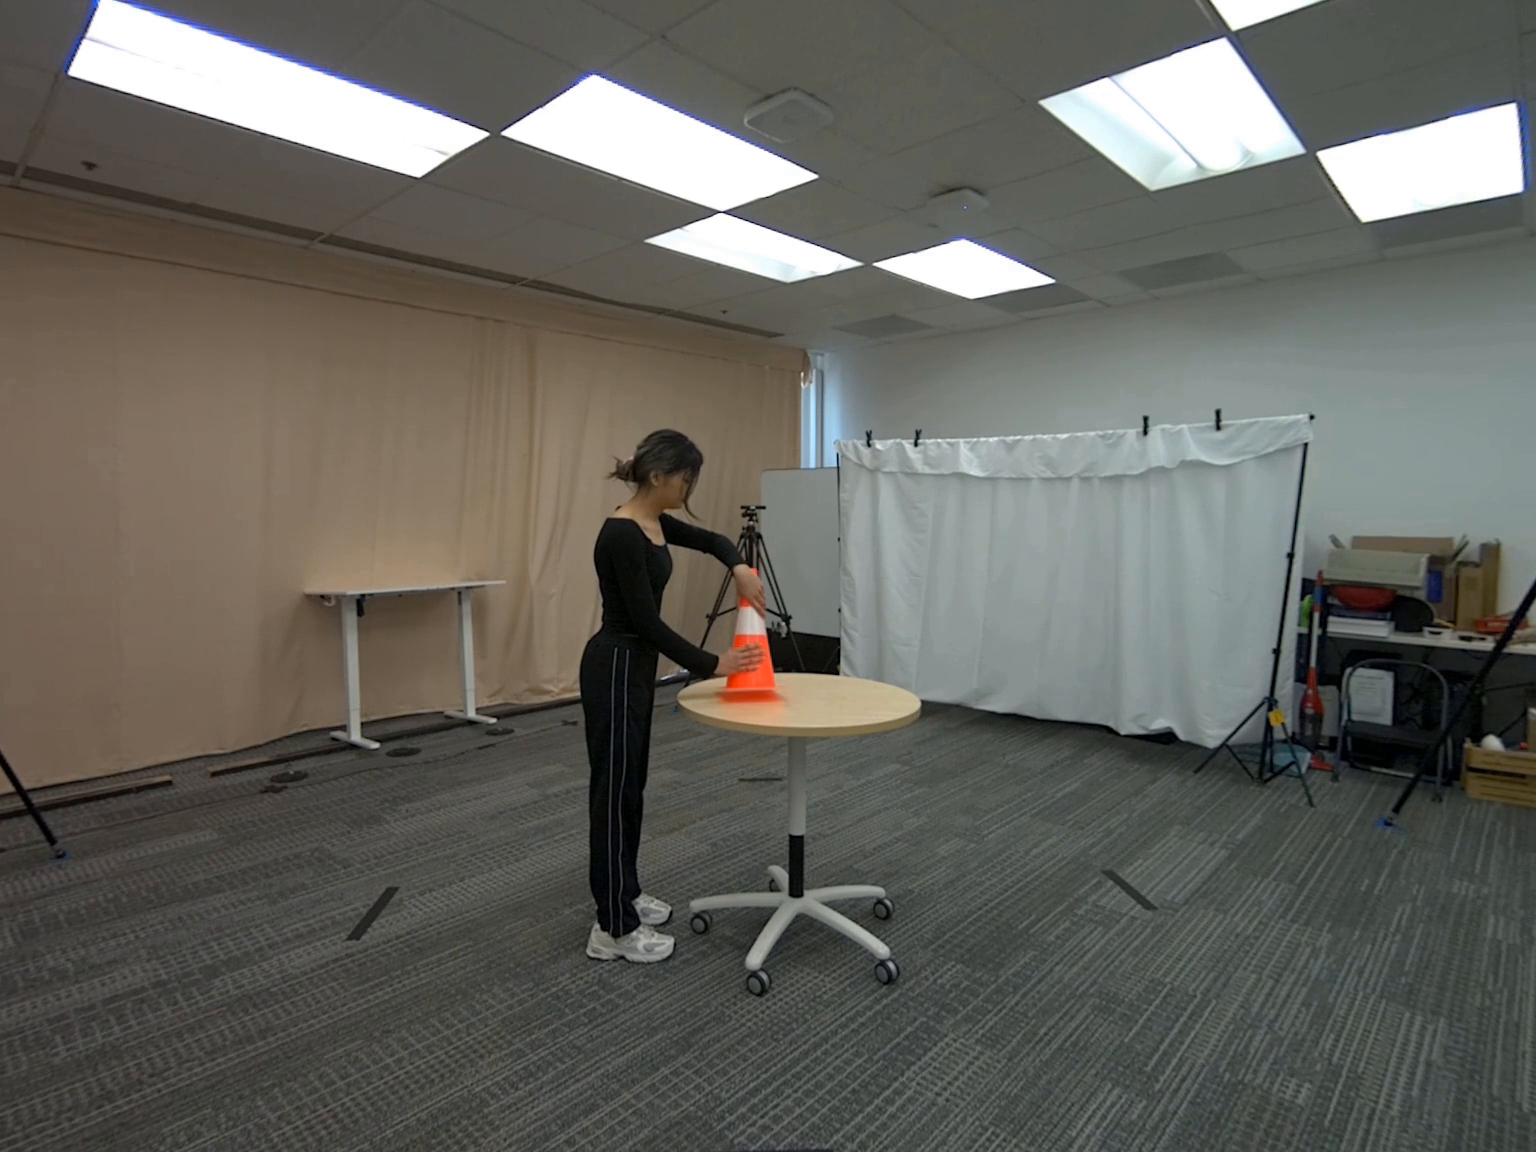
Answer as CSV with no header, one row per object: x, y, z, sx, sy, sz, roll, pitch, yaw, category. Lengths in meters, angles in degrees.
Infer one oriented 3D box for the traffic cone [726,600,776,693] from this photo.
-0.055,0.168,2.690,0.200,0.385,0.207,1,-6,-14,traffic cone
